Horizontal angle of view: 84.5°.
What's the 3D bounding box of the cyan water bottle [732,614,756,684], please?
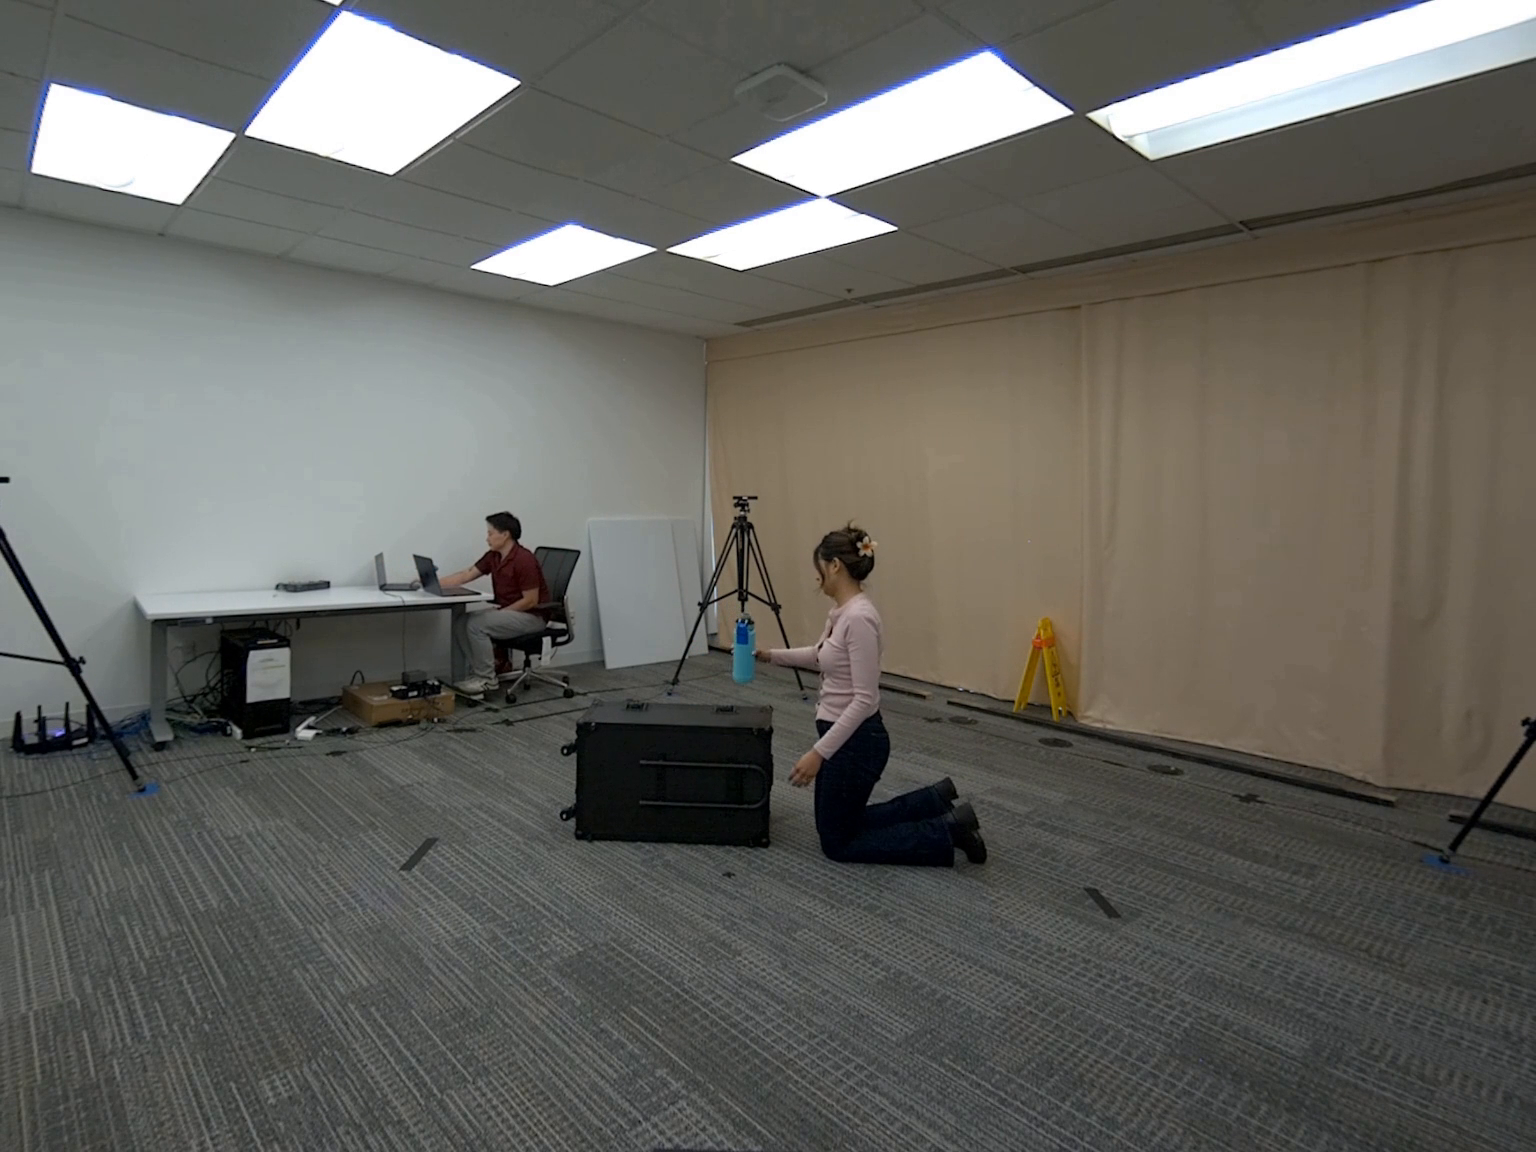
[{"bbox_3d":[-0.099,0.294,3.428,0.092,0.279,0.094,0,20,-1],"label":"cyan water bottle"}]
